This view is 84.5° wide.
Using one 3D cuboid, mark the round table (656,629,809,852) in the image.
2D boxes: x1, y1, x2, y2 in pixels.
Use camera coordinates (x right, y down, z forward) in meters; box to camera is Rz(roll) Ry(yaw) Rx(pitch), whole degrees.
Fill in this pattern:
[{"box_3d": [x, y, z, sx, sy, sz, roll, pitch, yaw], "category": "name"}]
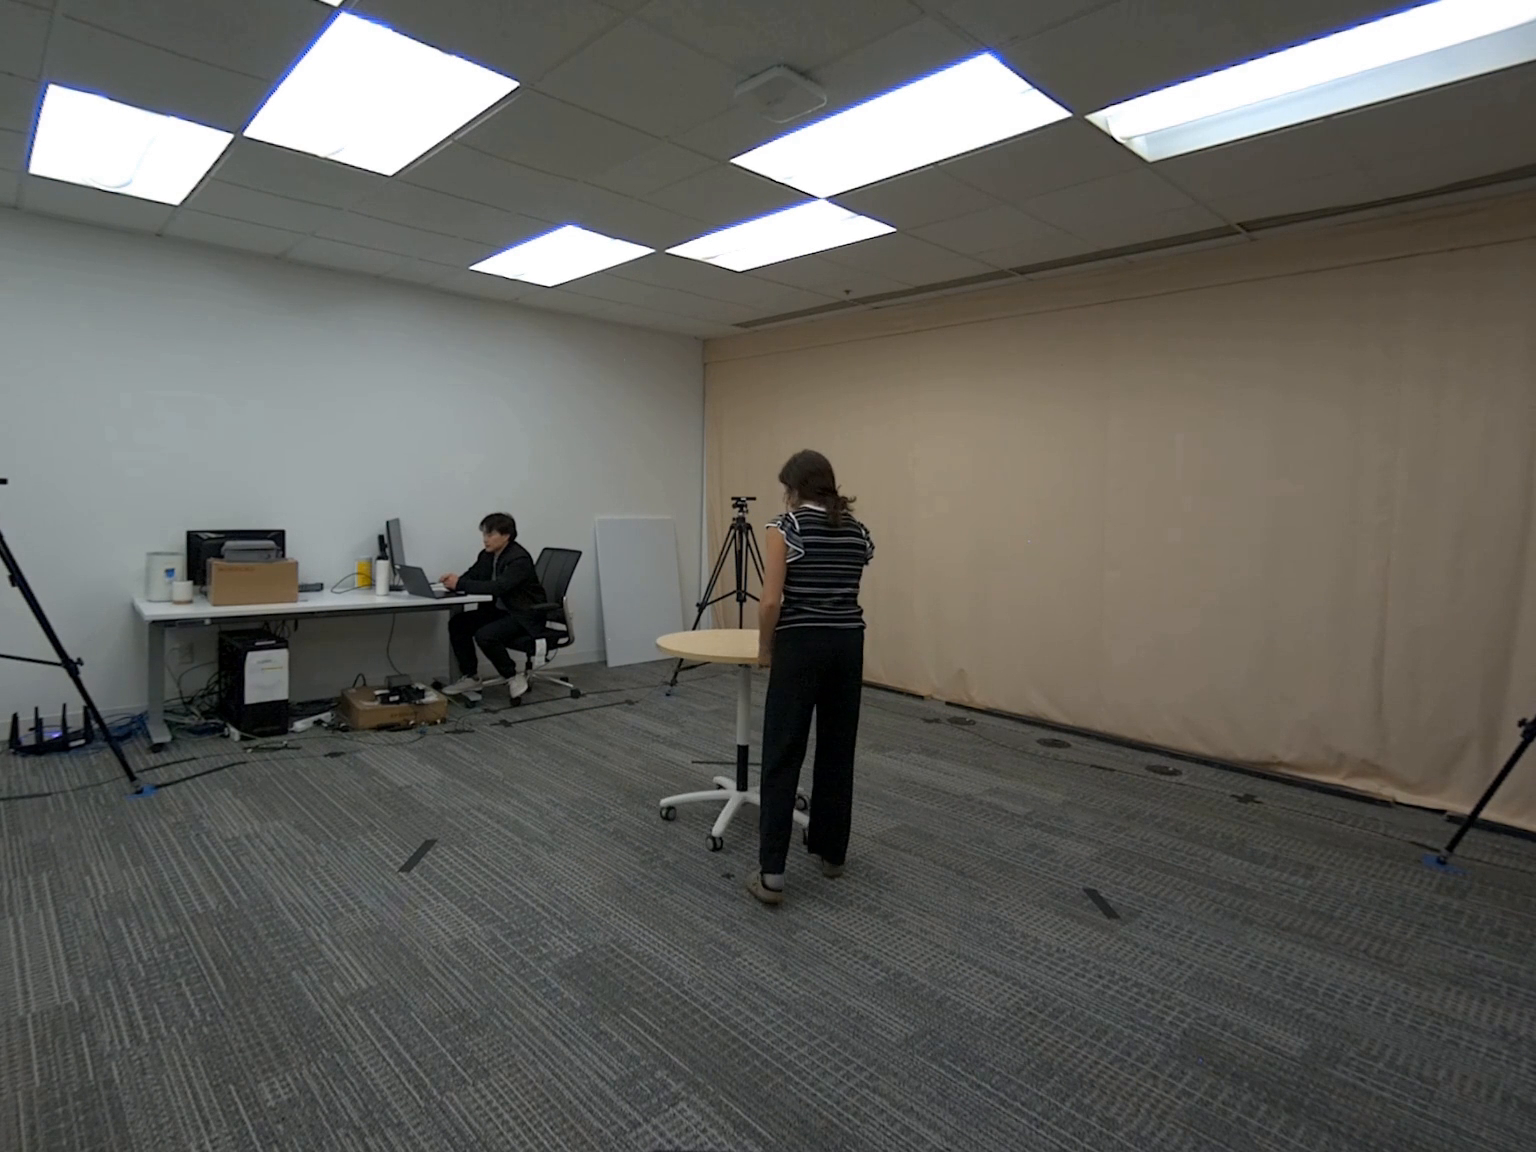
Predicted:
[{"box_3d": [-0.122, 0.671, 3.613, 0.784, 0.785, 0.787, 2, 3, -1], "category": "round table"}]
